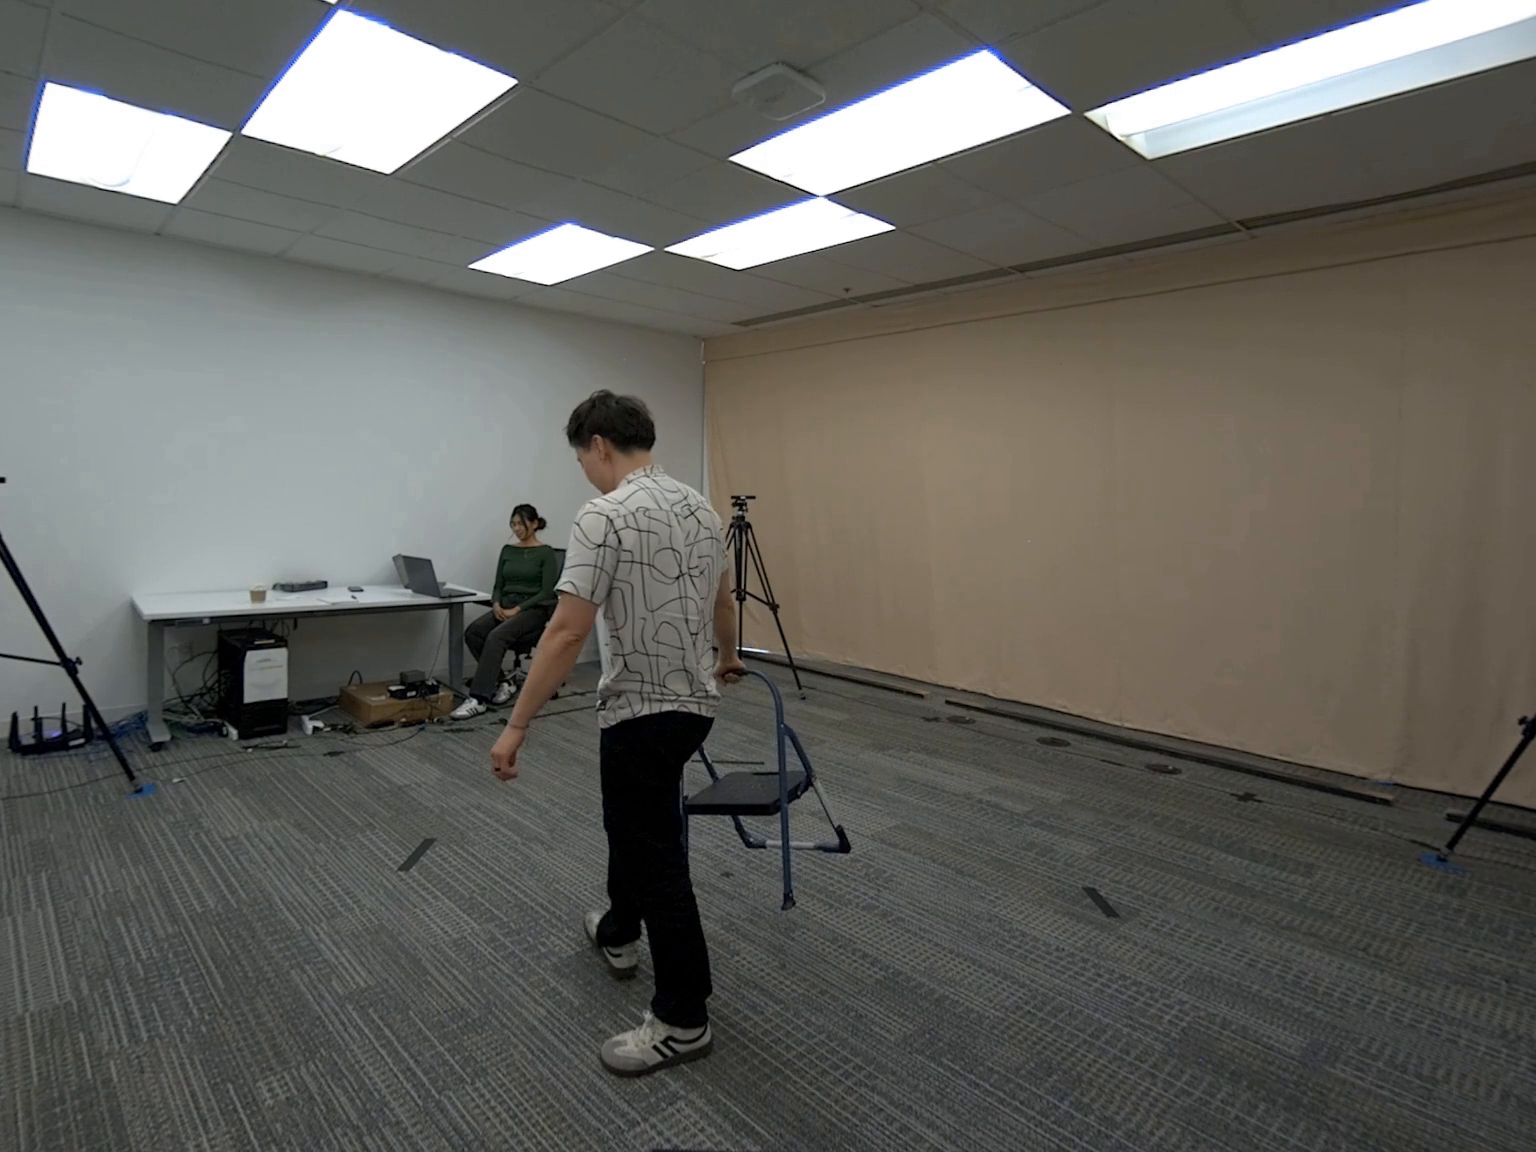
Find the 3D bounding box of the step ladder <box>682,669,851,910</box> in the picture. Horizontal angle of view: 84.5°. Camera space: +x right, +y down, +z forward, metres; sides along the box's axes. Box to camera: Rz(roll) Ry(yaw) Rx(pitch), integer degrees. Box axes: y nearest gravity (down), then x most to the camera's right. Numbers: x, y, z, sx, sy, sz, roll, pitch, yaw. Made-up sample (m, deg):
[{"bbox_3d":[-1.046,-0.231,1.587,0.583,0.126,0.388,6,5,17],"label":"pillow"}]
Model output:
[{"bbox_3d":[-0.095,0.605,2.500,0.438,0.605,0.343,-12,2,39],"label":"step ladder"}]
